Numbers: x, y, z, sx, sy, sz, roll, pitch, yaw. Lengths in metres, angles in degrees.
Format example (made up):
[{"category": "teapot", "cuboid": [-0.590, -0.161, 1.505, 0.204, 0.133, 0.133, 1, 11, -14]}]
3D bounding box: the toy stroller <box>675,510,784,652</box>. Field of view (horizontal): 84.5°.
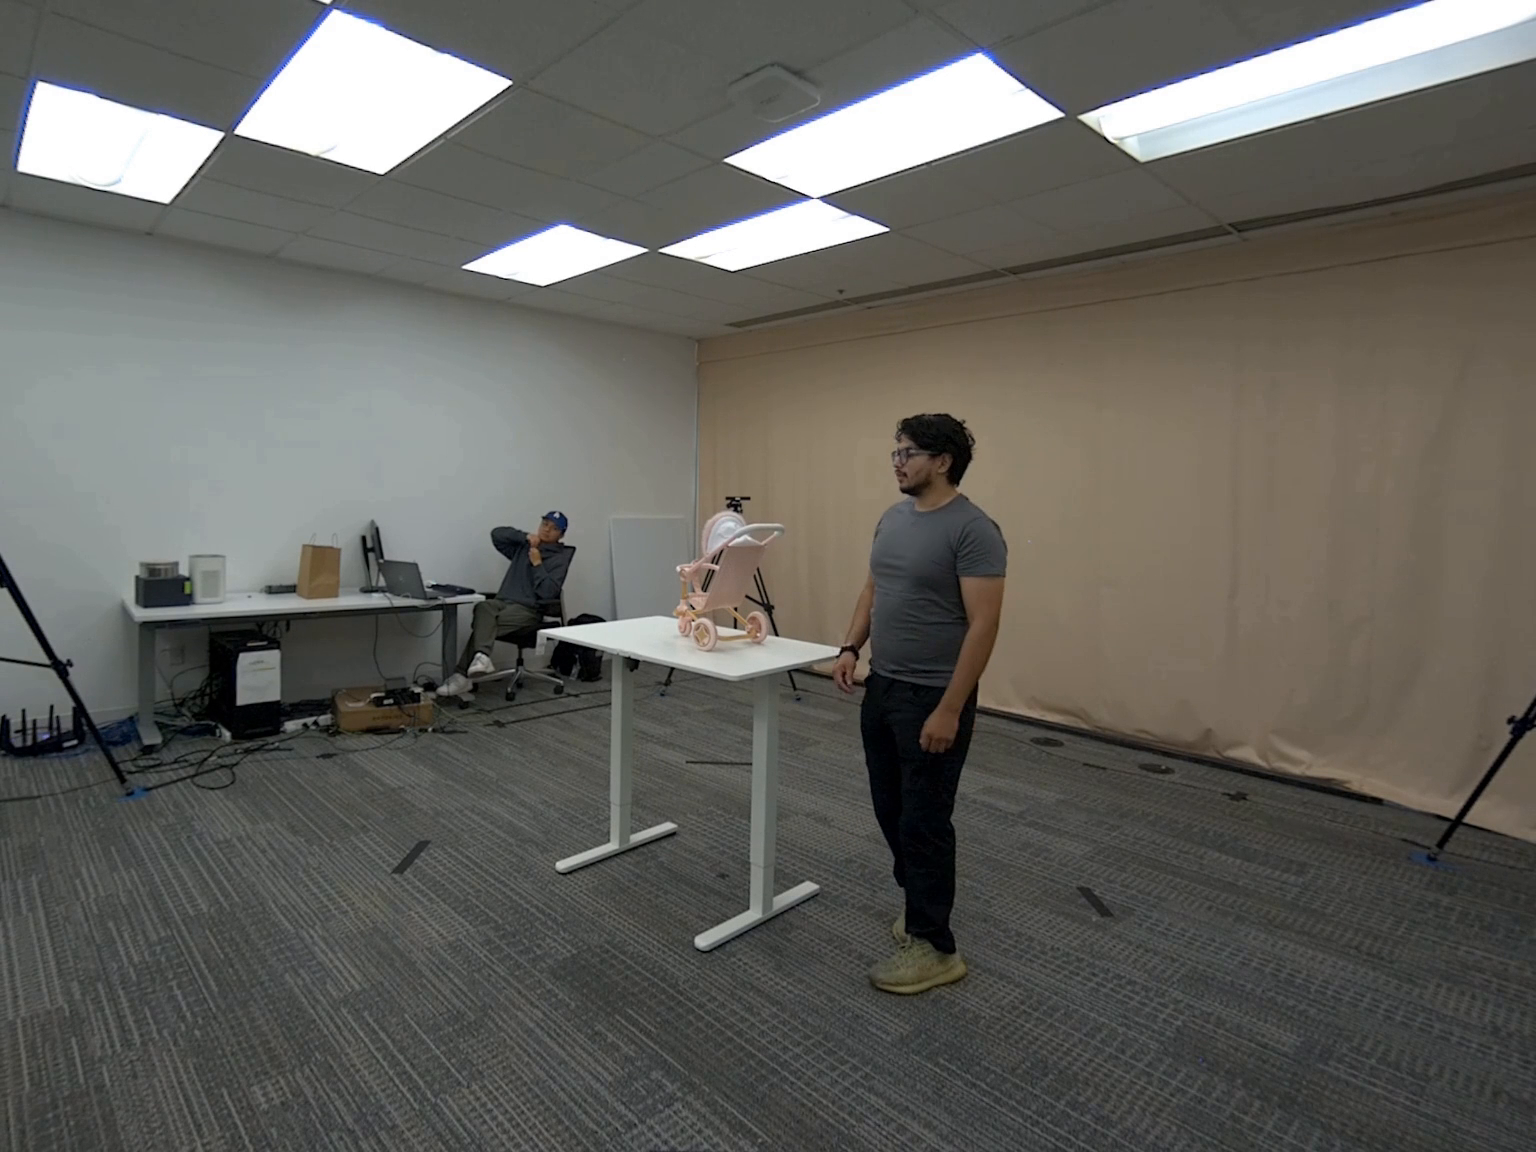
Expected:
[{"category": "toy stroller", "cuboid": [-0.168, 0.018, 2.923, 0.275, 0.530, 0.352, -2, 22, -41]}]
